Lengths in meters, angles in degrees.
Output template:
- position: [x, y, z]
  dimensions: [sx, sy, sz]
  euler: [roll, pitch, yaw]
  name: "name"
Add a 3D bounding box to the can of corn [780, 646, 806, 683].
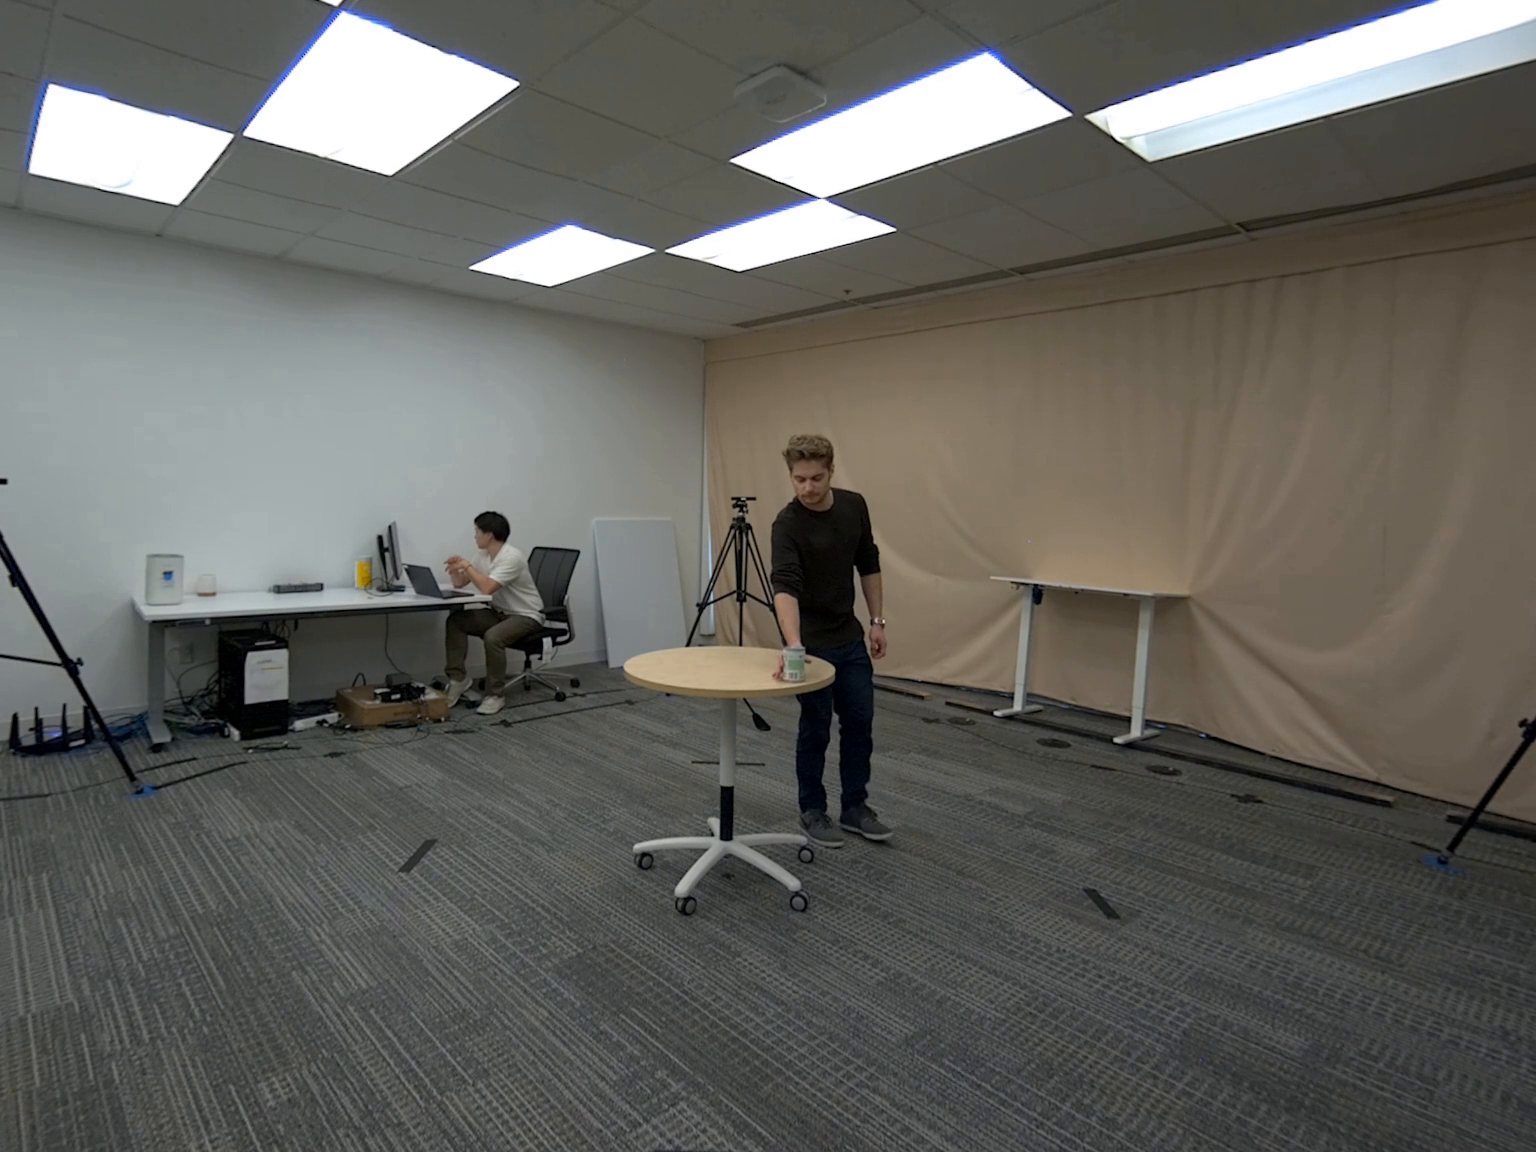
- position: [0.072, 0.298, 2.819]
  dimensions: [0.074, 0.111, 0.074]
  euler: [2, 0, -1]
  name: "can of corn"
